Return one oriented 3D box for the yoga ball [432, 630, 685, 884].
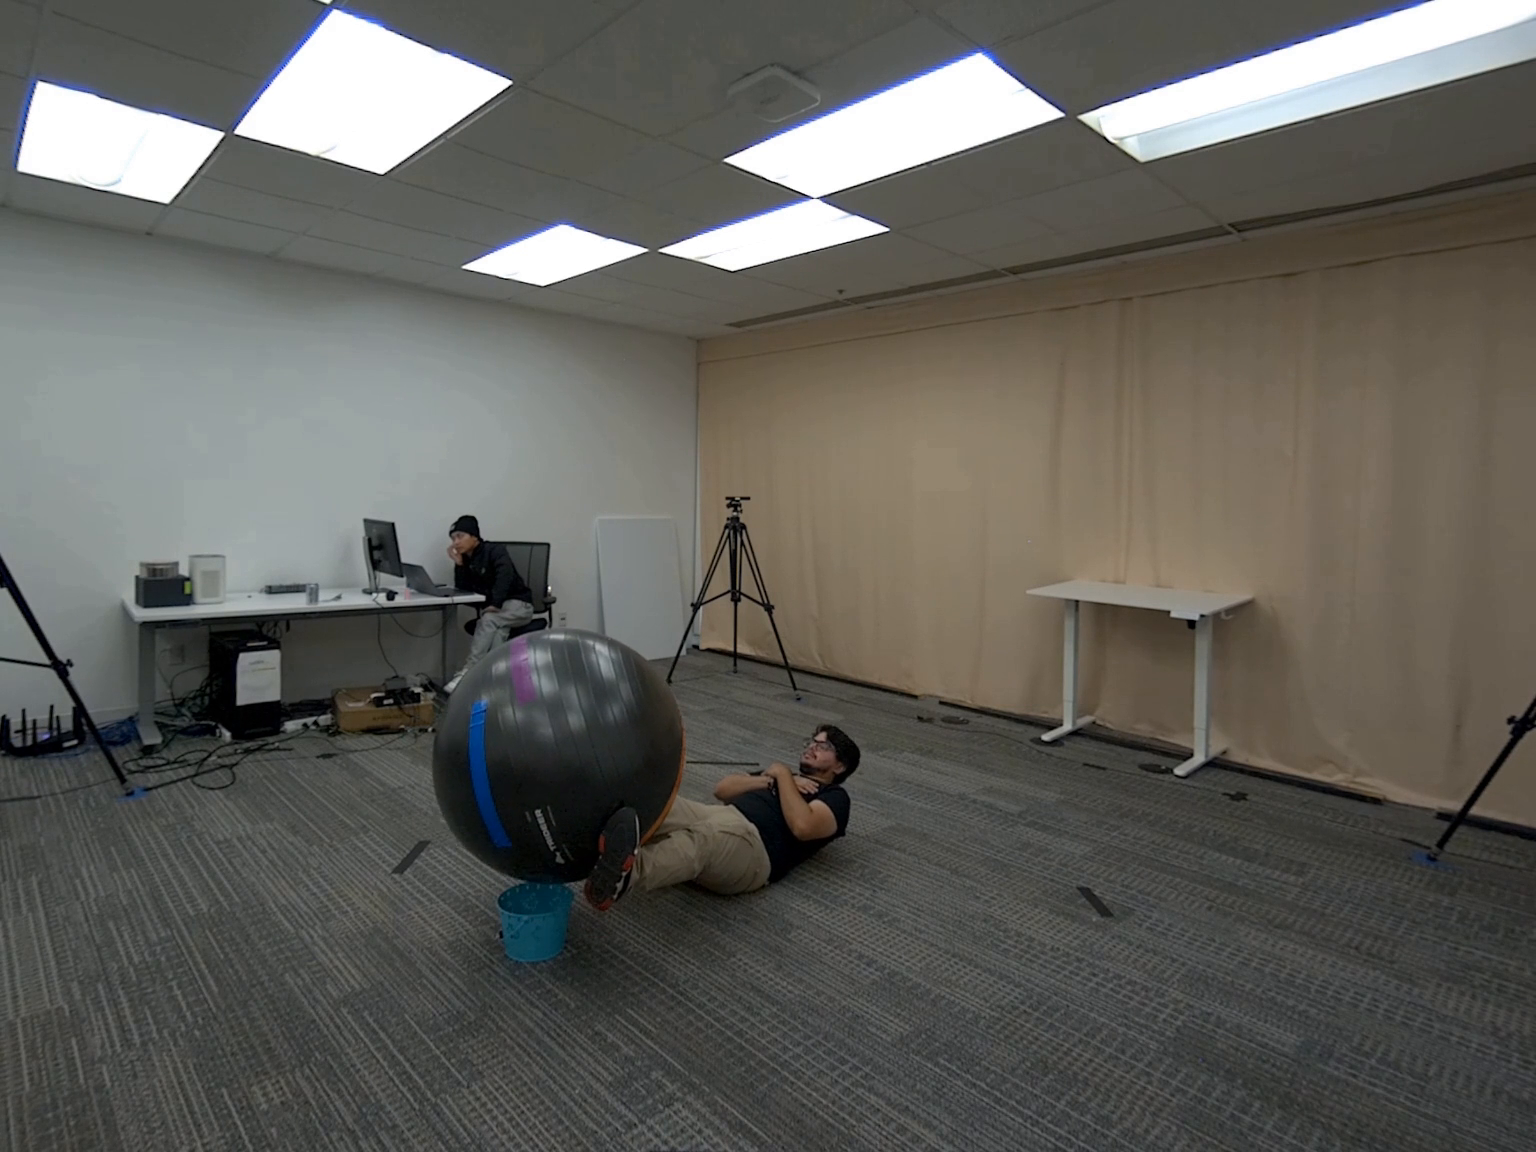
[{"bbox_3d":[-0.644,0.548,2.595,0.757,0.756,0.761,1,4,-1],"label":"yoga ball"}]
